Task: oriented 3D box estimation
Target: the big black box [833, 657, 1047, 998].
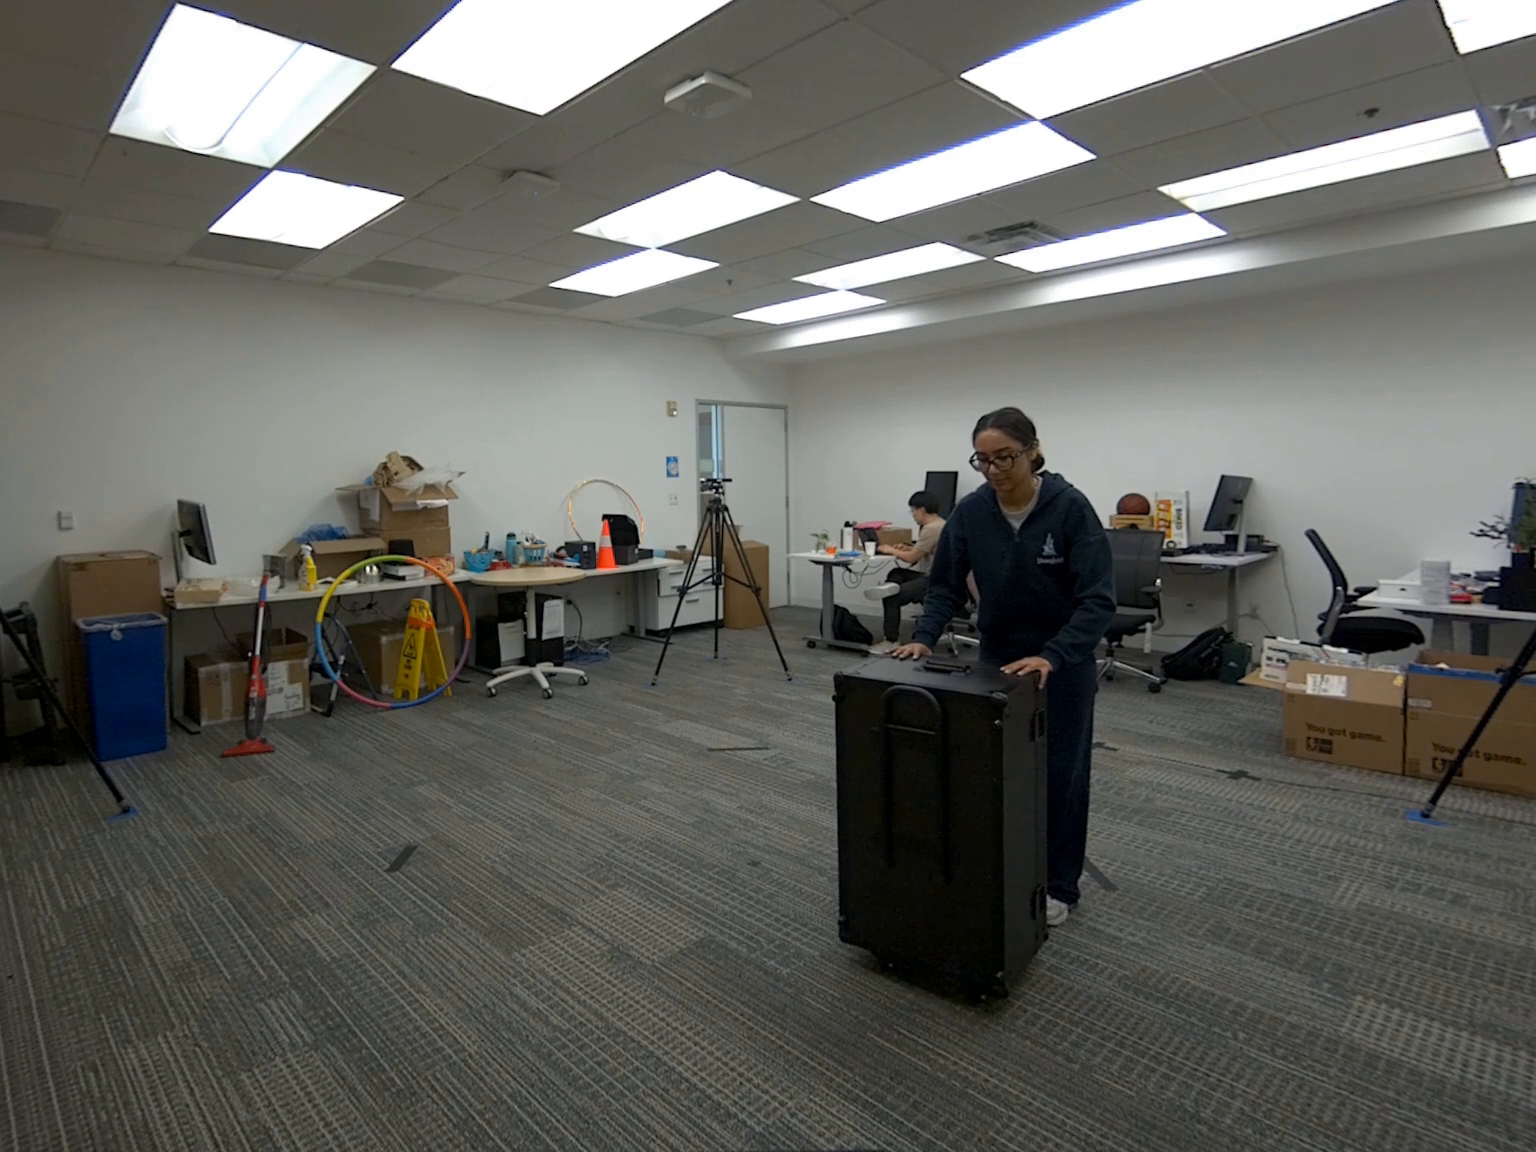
[{"bbox_3d":[0.488,0.691,2.400,0.537,0.857,0.387,3,7,38],"label":"big black box"}]
